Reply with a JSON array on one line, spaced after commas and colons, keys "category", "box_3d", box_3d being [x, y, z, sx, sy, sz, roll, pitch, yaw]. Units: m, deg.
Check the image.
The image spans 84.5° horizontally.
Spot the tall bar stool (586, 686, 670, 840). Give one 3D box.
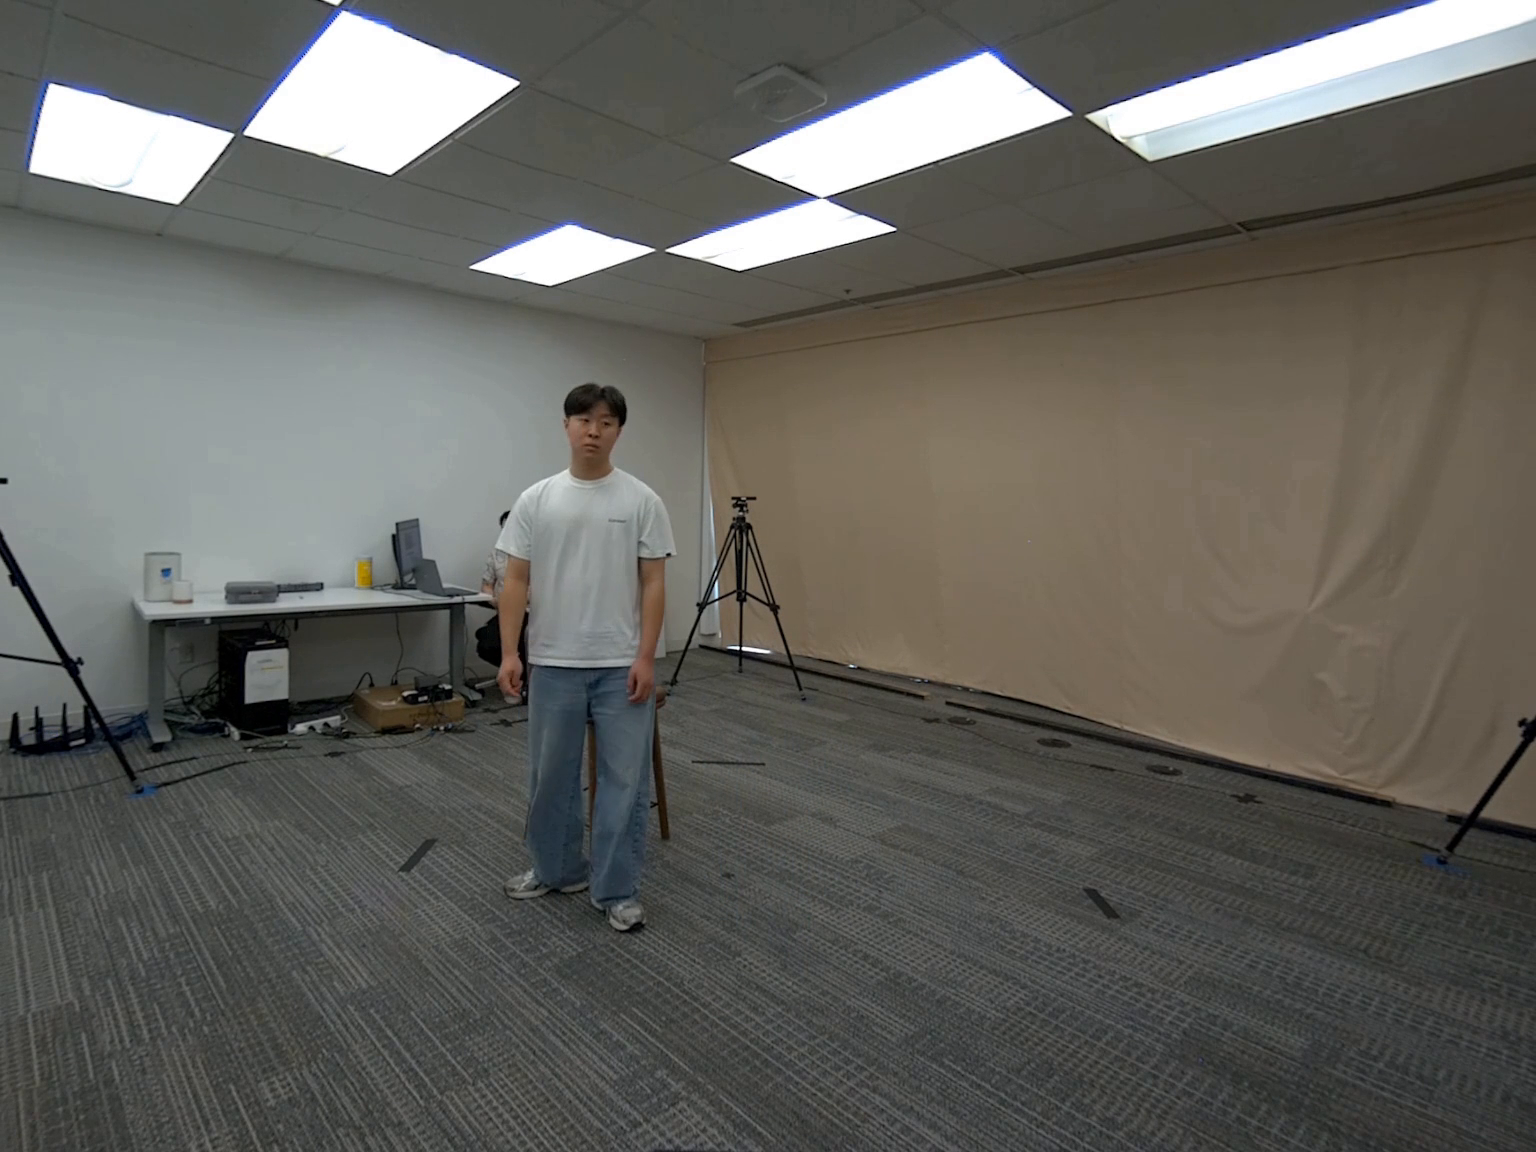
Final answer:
[{"category": "tall bar stool", "box_3d": [-0.700, 0.637, 3.392, 0.479, 0.889, 0.446, 2, 2, 39]}]
